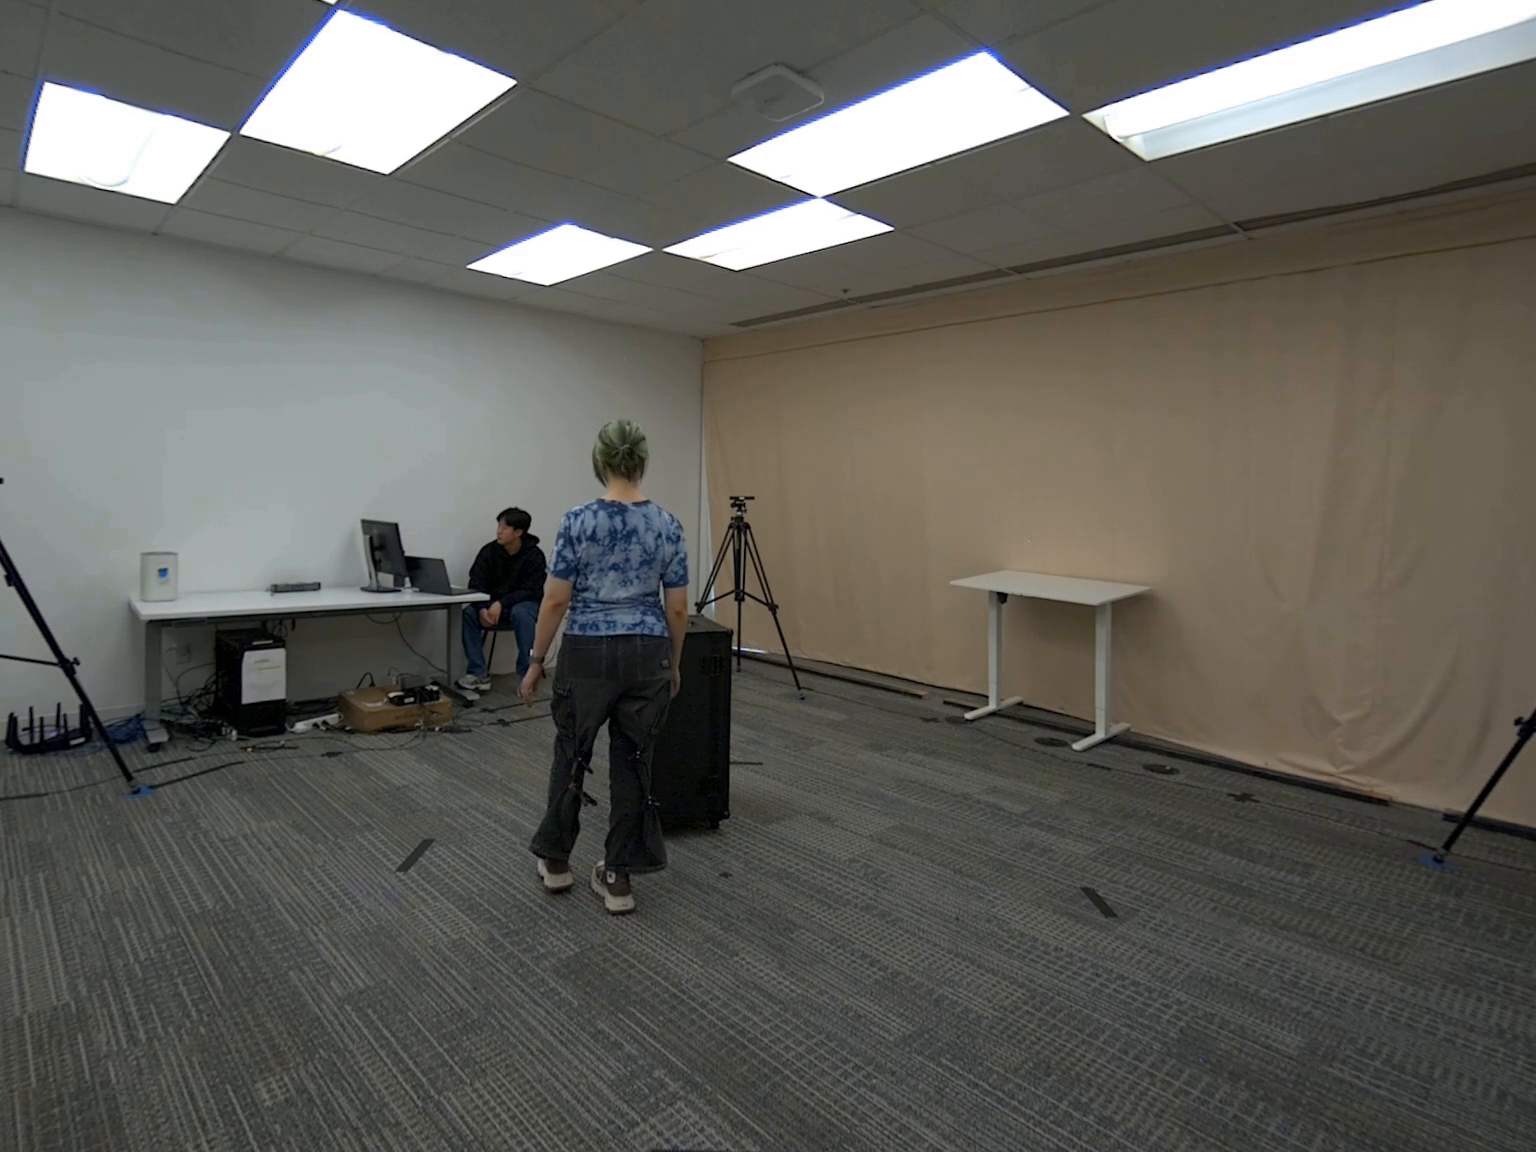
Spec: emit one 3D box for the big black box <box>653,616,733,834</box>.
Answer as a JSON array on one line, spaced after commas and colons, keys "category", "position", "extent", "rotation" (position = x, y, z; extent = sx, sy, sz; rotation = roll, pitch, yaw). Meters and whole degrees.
[{"category": "big black box", "position": [-0.406, 0.631, 3.624], "extent": [0.391, 0.860, 0.529], "rotation": [0, 3, -18]}]
